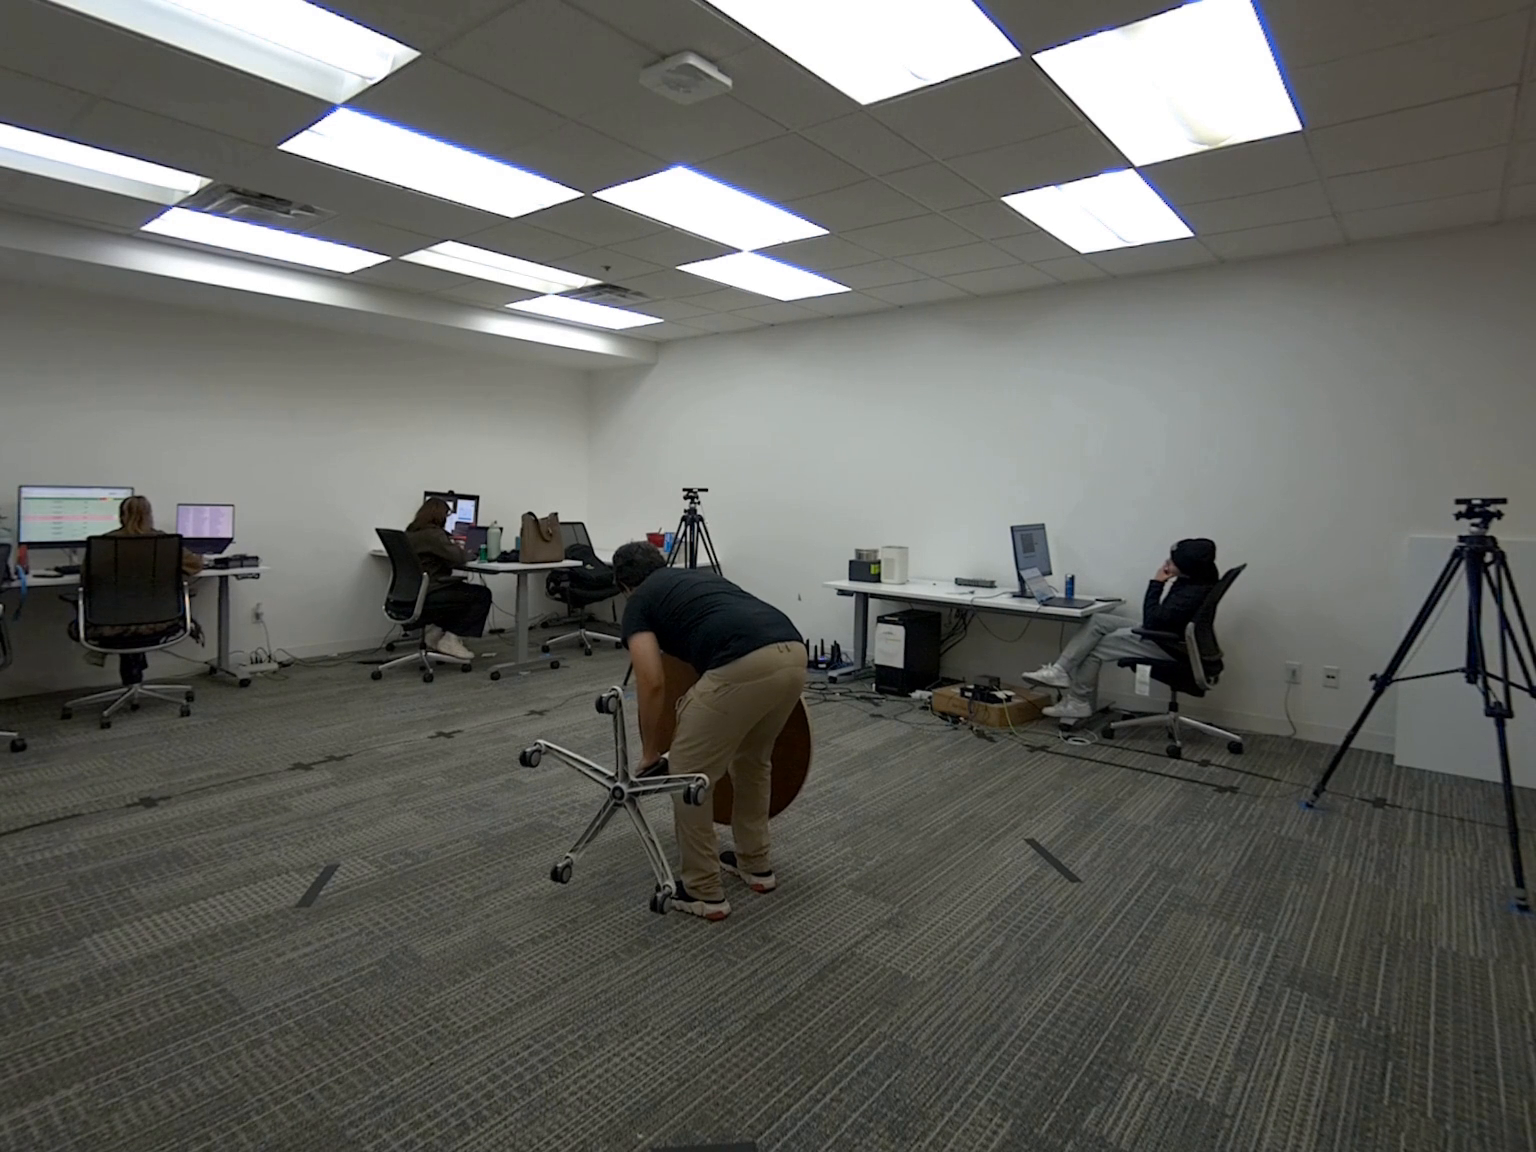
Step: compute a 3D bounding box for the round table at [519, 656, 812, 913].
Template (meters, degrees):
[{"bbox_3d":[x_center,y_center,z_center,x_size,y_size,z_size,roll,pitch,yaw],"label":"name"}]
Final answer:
[{"bbox_3d":[-0.358,0.643,2.987,0.806,0.781,0.770,3,7,27],"label":"round table"}]
